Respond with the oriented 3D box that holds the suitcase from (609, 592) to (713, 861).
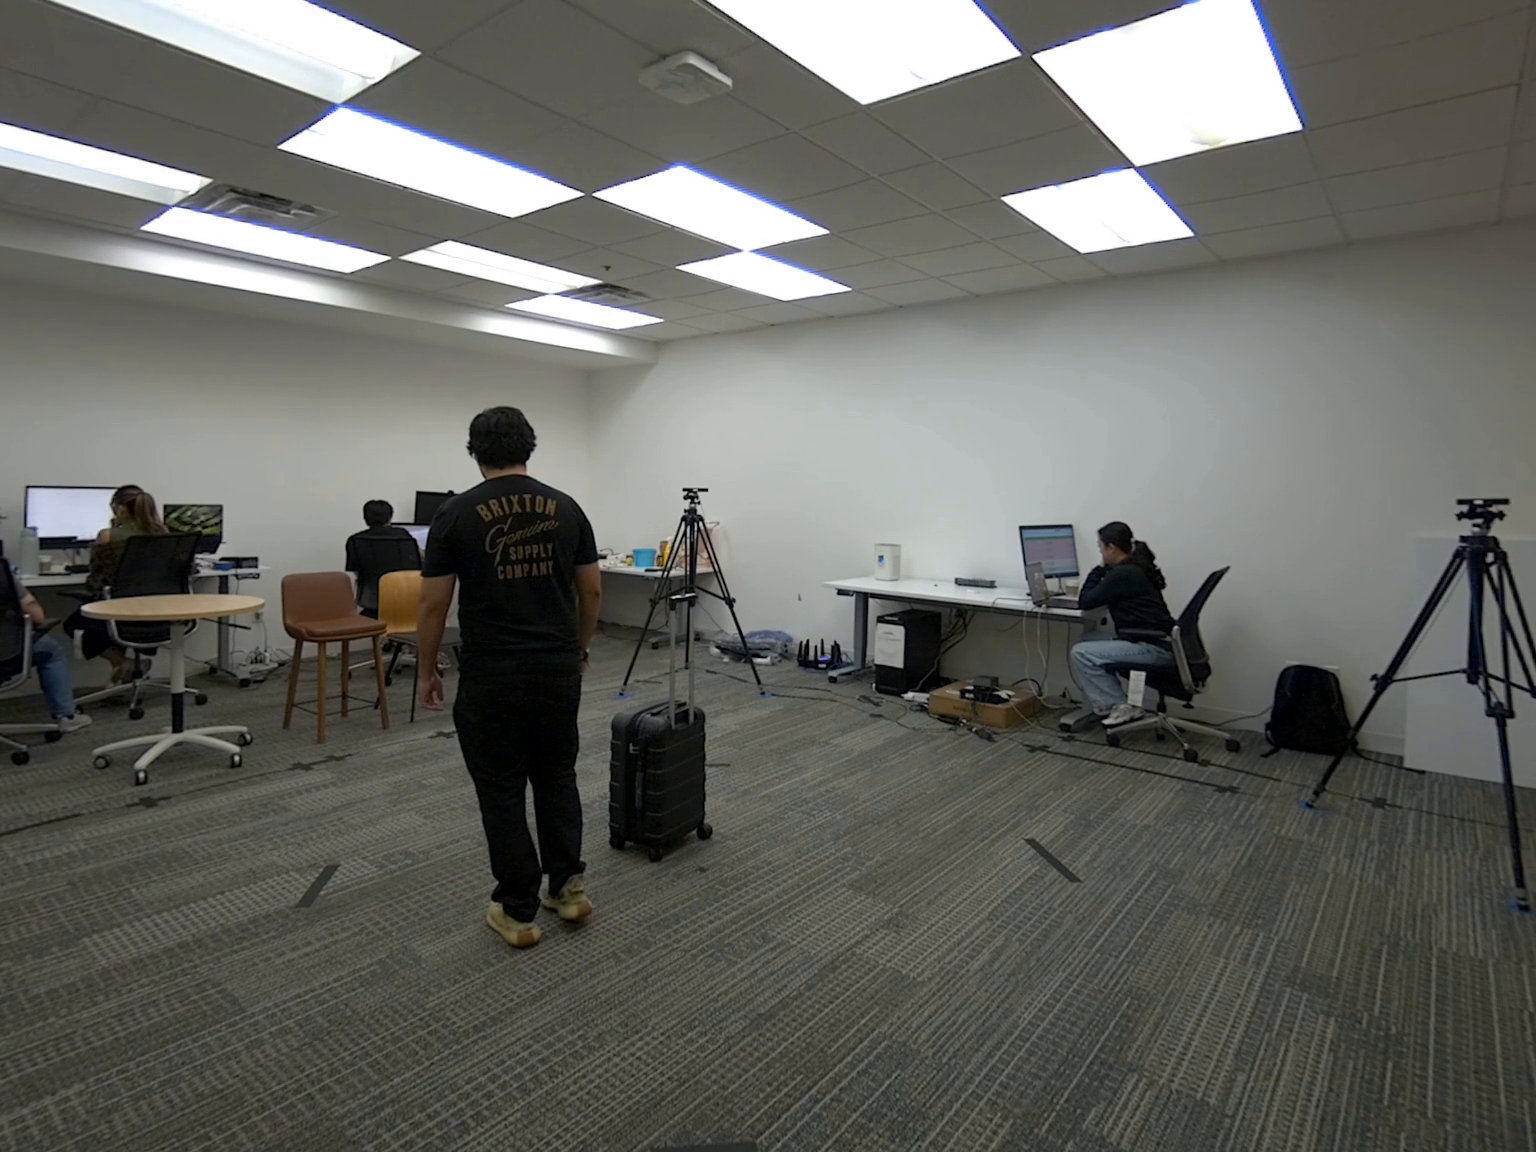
[{"bbox_3d":[-0.441,0.569,3.316,0.264,0.976,0.374,1,3,30],"label":"suitcase"}]
